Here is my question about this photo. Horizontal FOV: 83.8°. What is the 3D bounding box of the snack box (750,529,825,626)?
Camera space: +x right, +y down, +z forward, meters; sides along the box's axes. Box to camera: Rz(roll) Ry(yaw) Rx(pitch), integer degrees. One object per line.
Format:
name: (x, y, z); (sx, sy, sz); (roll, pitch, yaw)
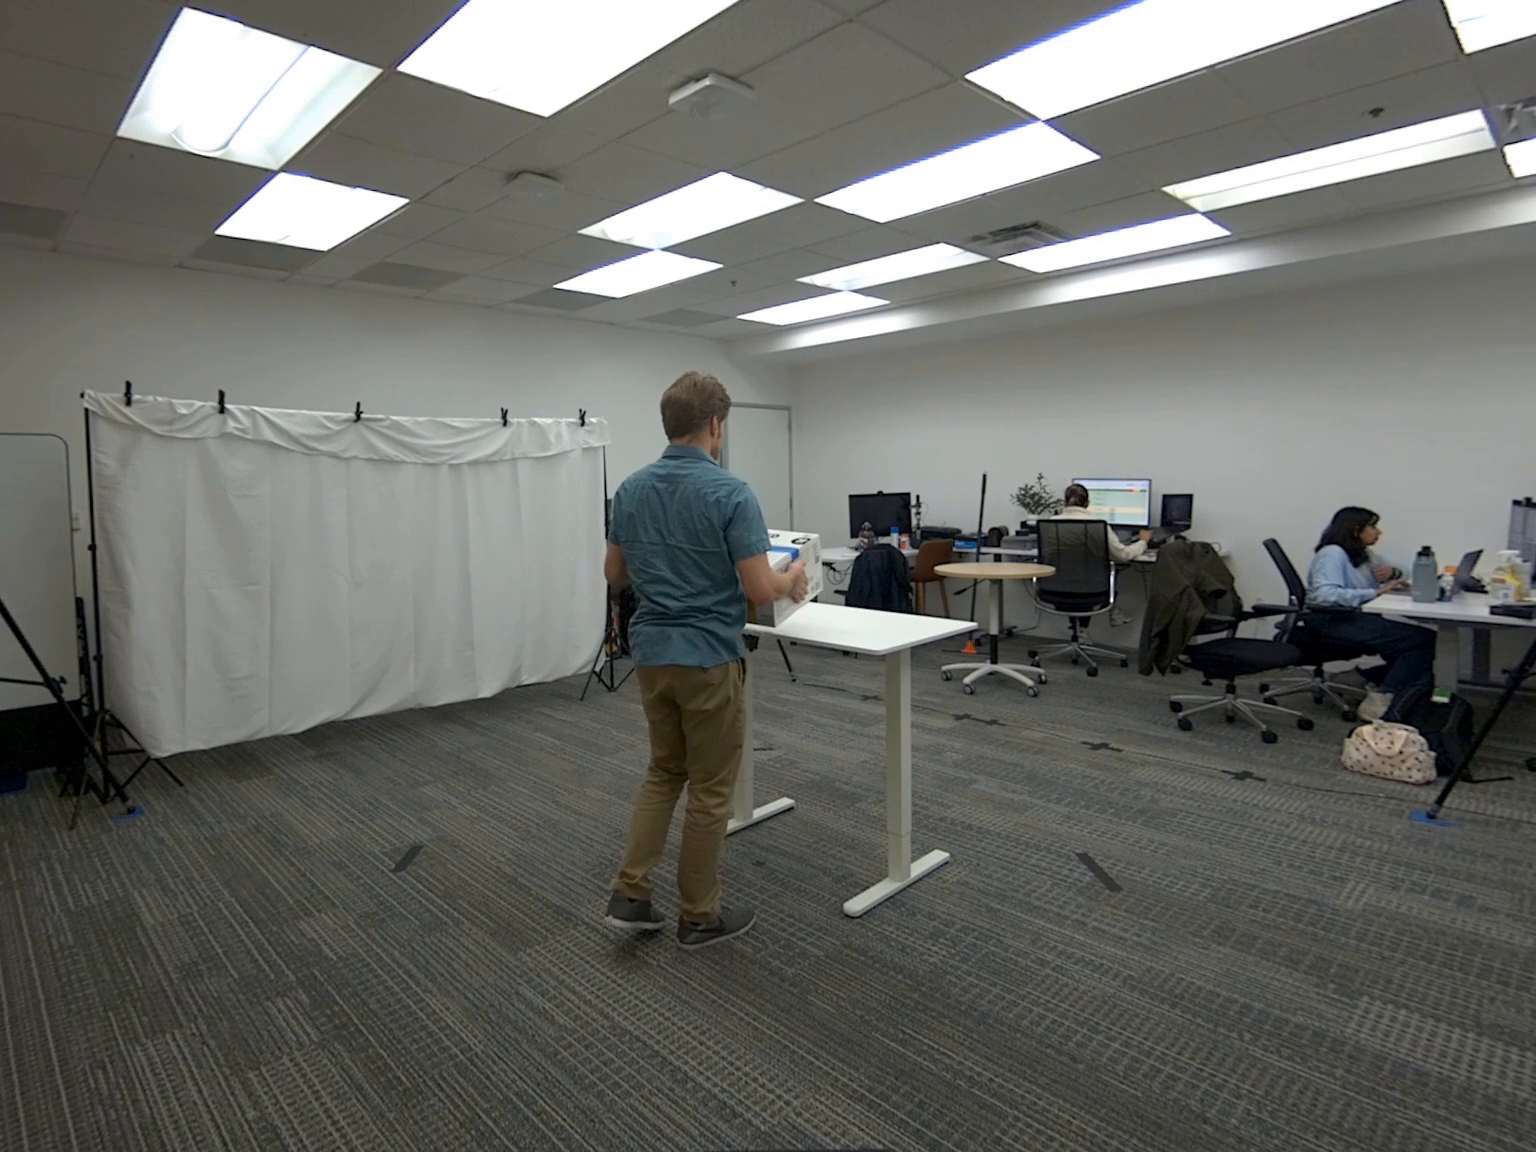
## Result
snack box: (-0.076, -0.009, 2.845); (0.417, 0.202, 0.337); (7, 23, 31)
